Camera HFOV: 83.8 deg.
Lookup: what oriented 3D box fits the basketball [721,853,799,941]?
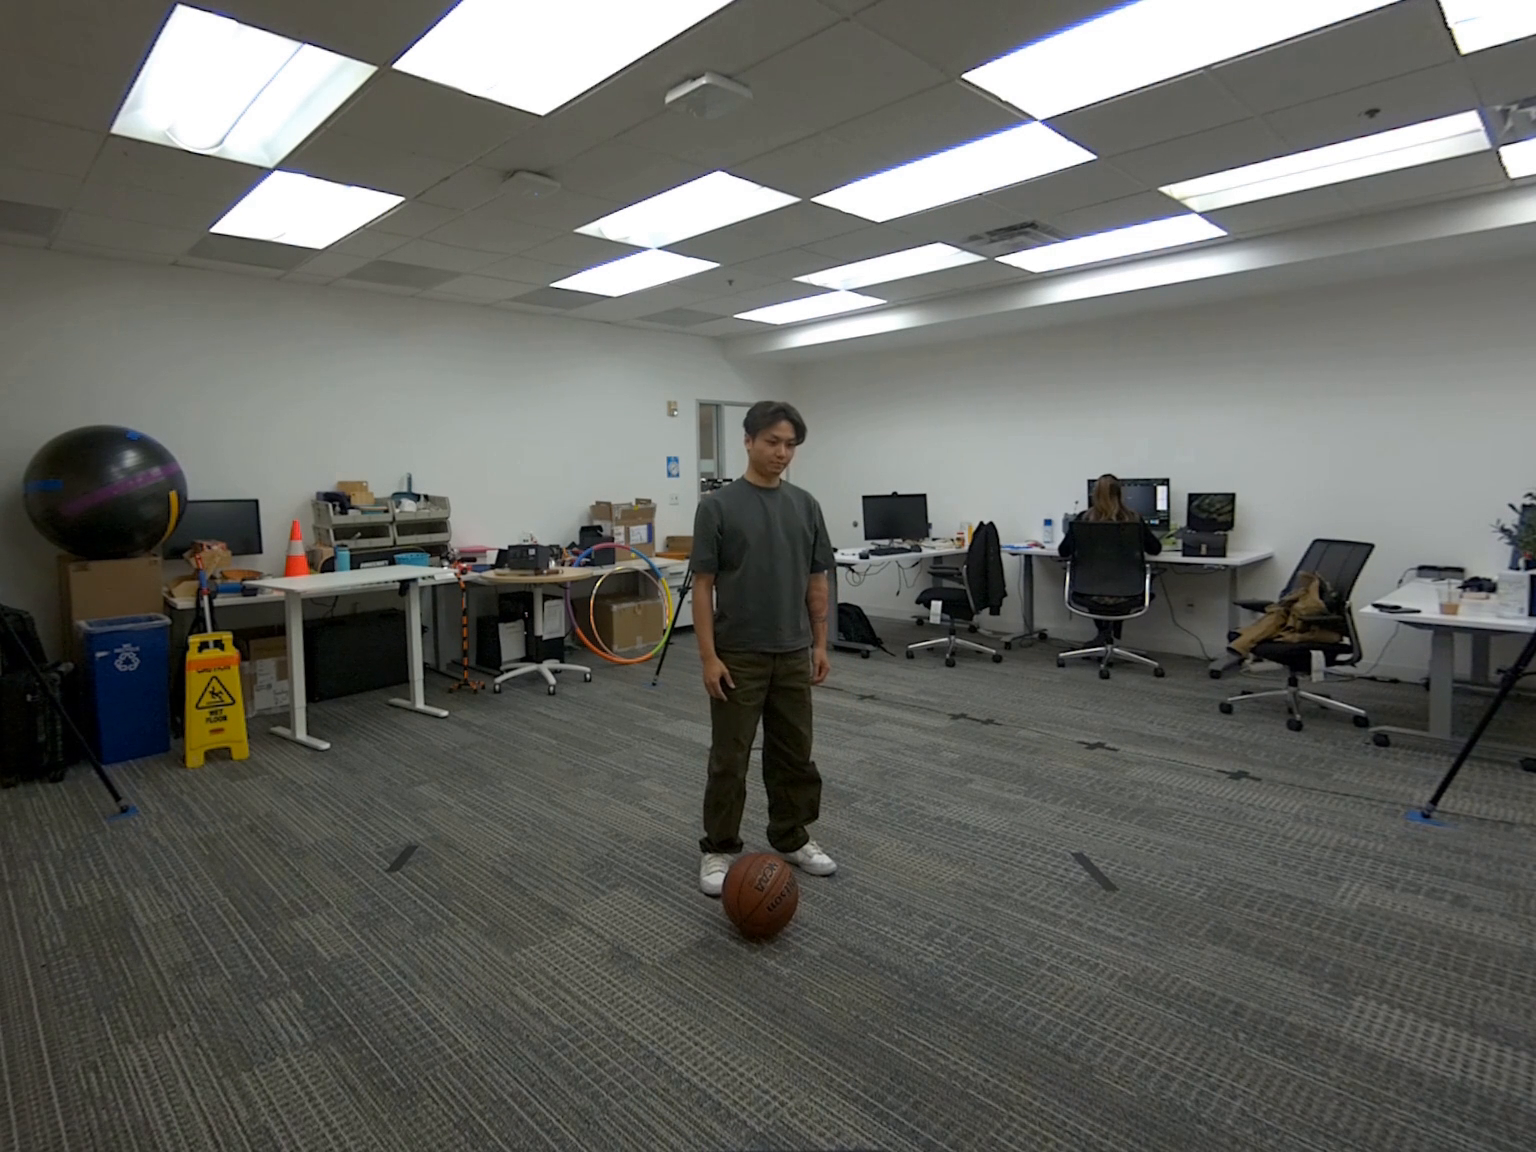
[{"bbox_3d":[-0.026,0.984,2.632,0.236,0.235,0.237,-1,5,-2],"label":"basketball"}]
